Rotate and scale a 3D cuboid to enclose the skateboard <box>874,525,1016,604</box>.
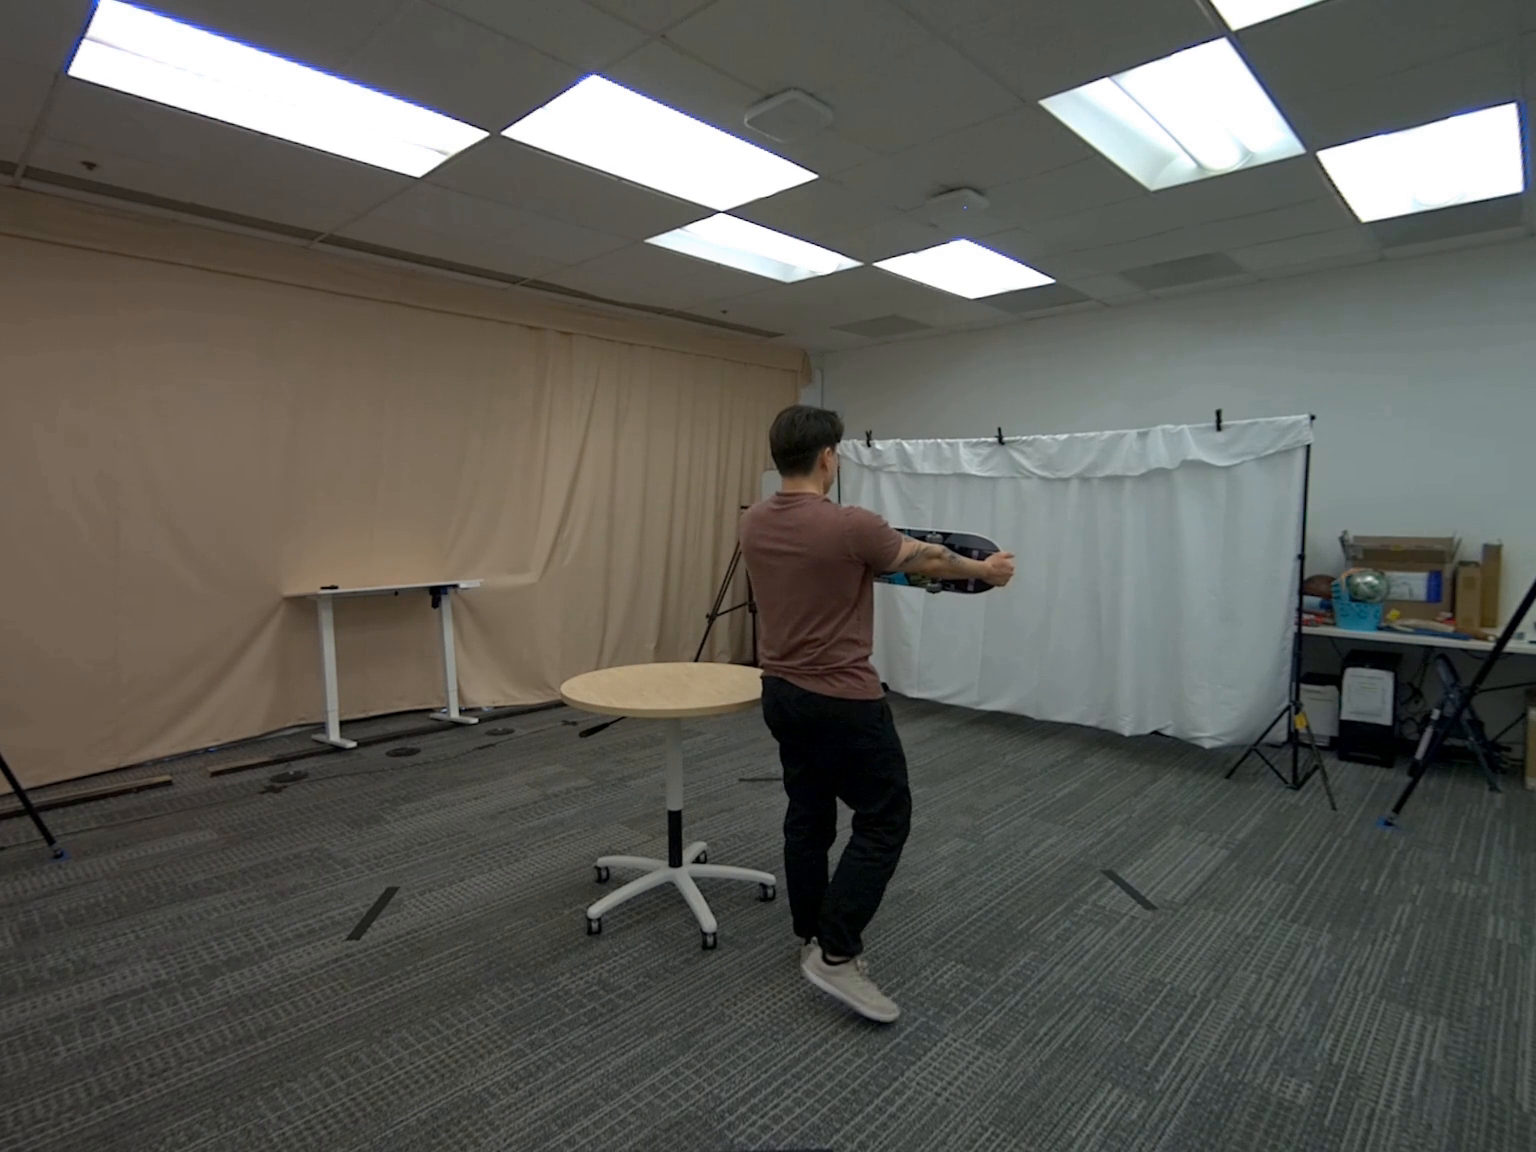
[{"bbox_3d":[0.400,-0.066,2.773,0.812,0.192,0.107,8,13,40],"label":"skateboard"}]
